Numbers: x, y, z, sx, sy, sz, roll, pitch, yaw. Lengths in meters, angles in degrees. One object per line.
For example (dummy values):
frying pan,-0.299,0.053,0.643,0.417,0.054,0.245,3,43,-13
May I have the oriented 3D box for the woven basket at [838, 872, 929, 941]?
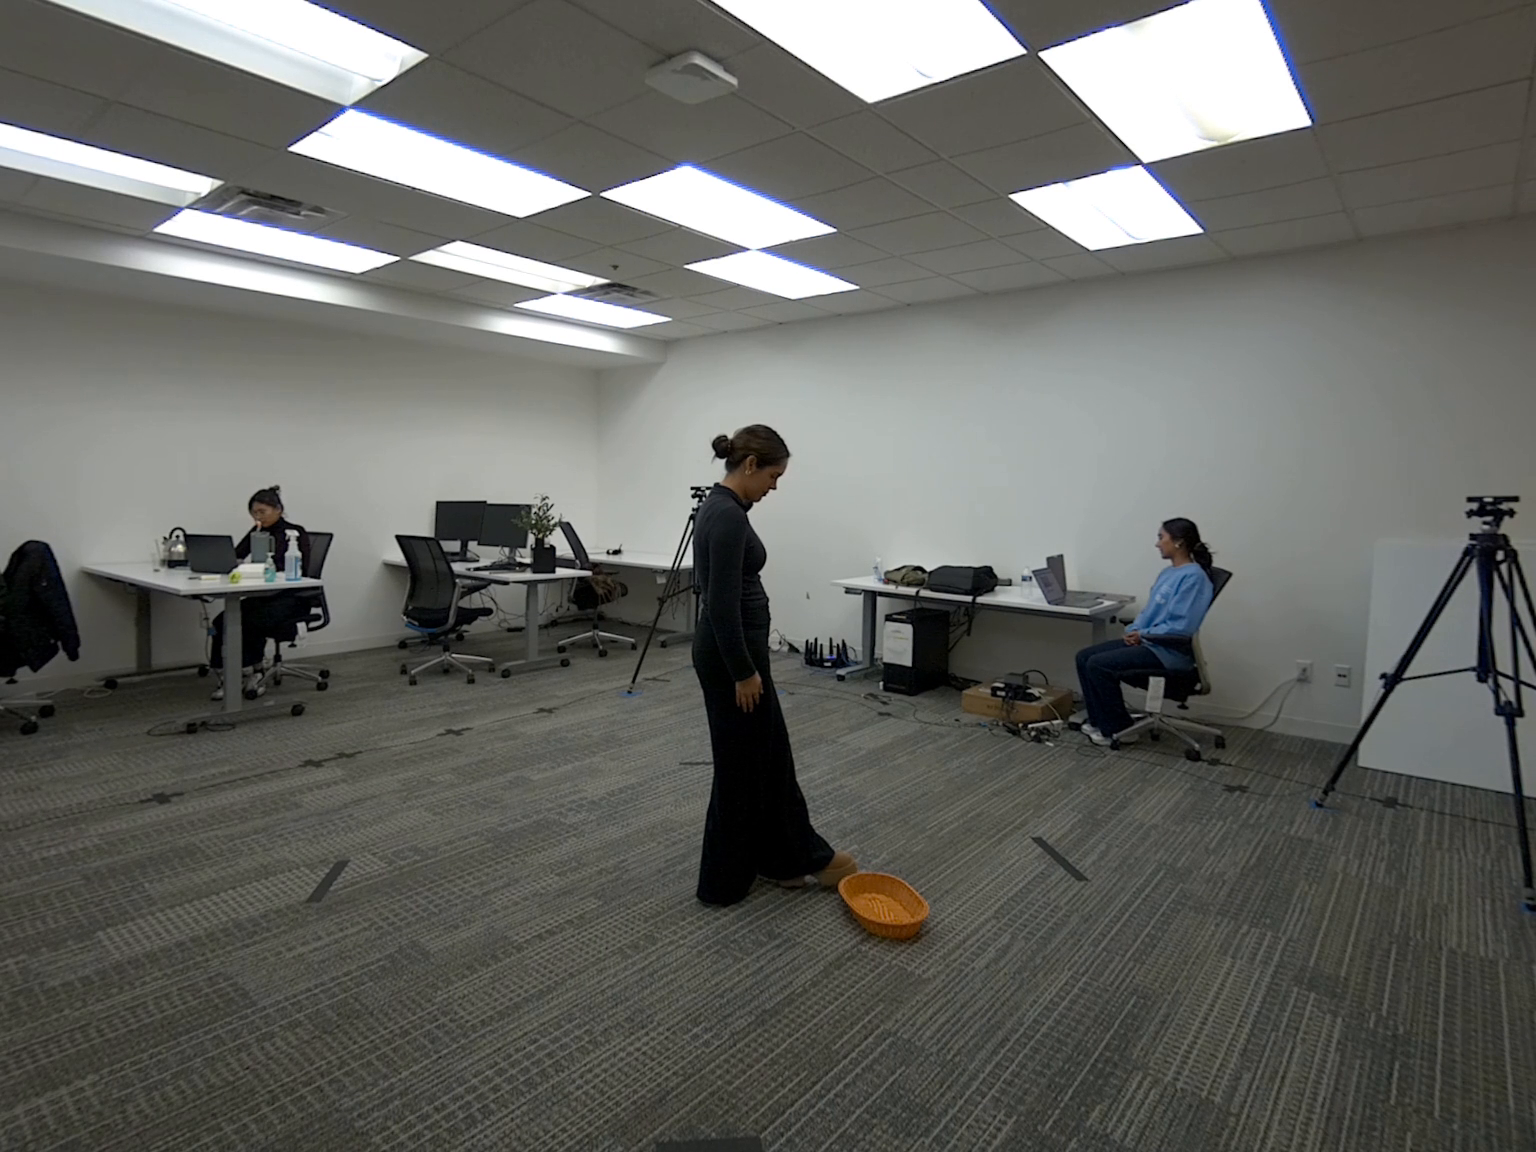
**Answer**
woven basket,0.367,1.072,2.775,0.248,0.073,0.357,-2,6,-16
